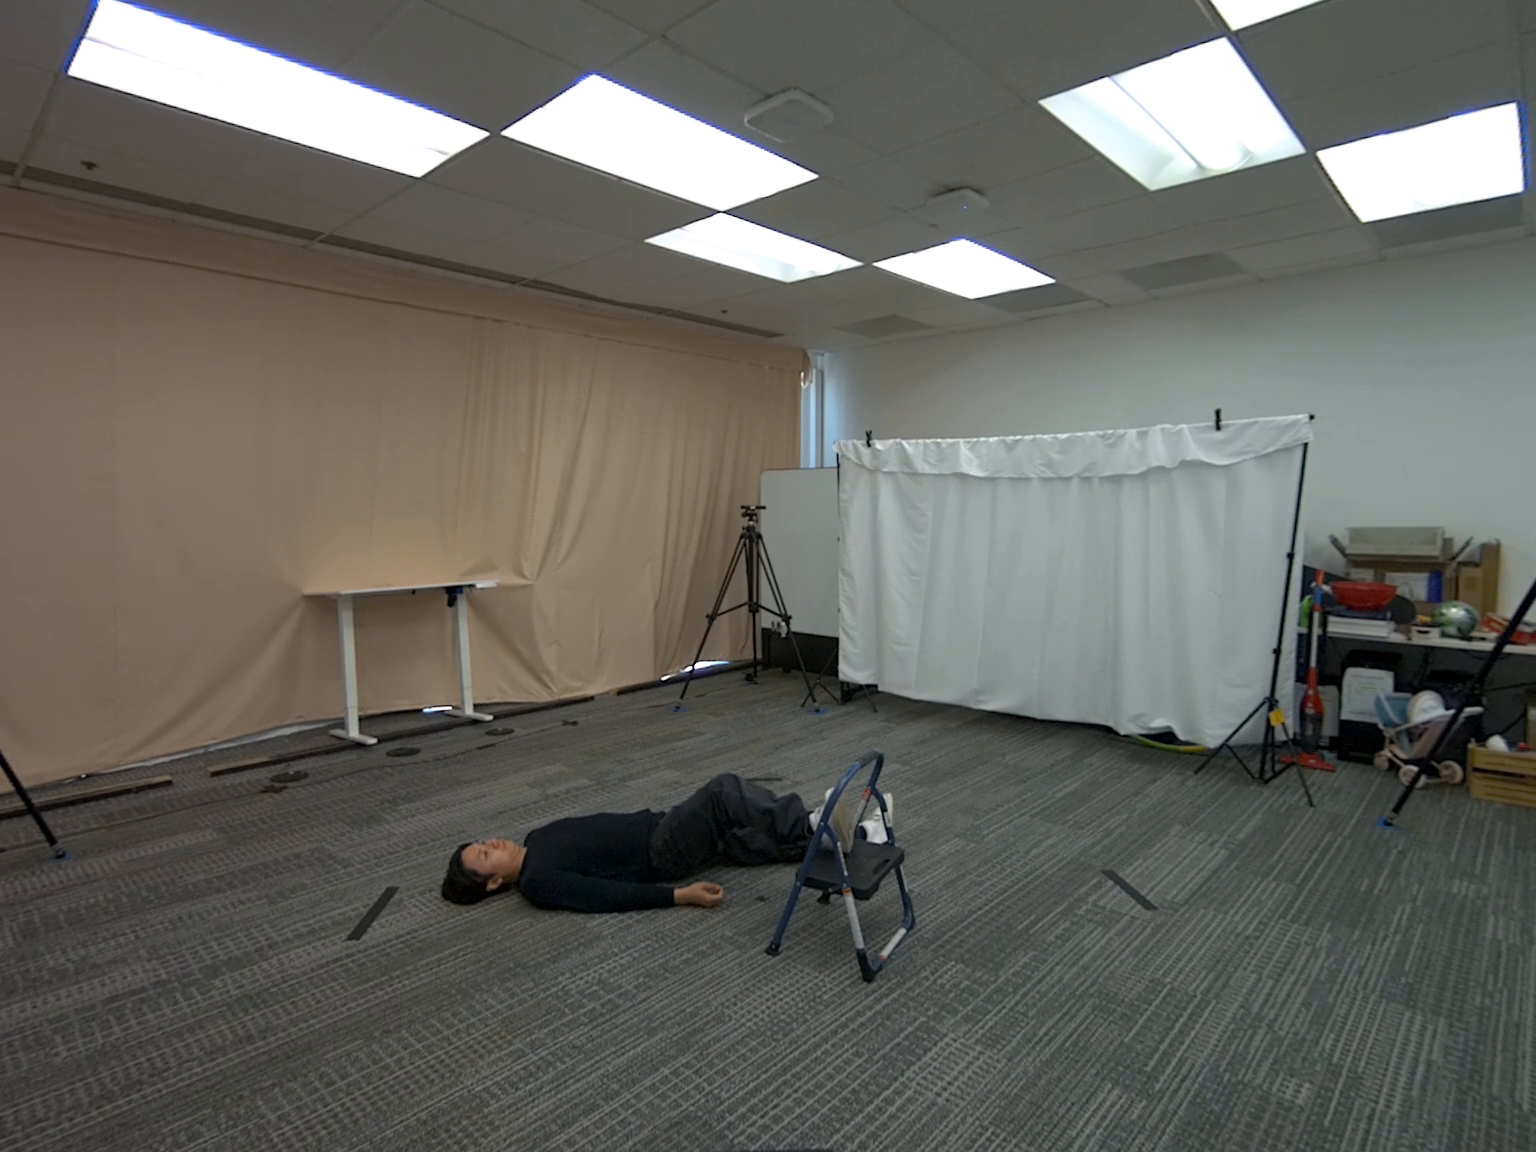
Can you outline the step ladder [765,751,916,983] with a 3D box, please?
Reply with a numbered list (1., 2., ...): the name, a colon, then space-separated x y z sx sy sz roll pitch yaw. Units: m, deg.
1. step ladder: 0.245 0.866 2.694 0.359 0.605 0.419 1 4 29
